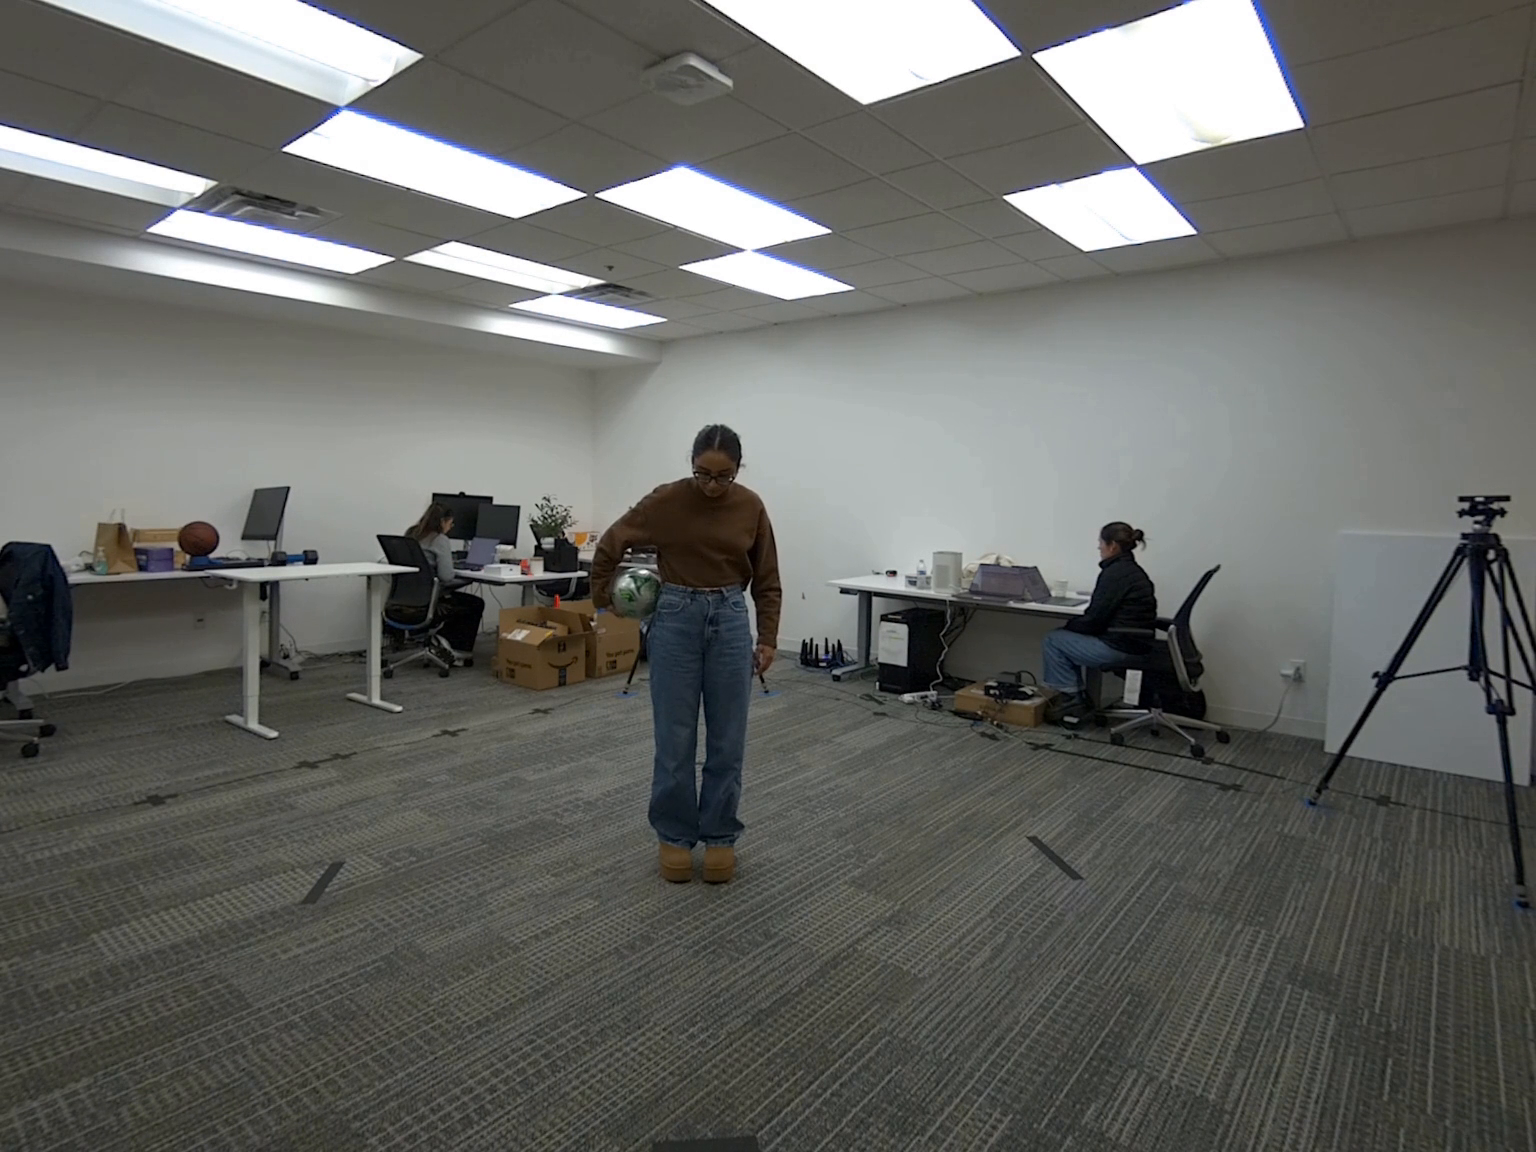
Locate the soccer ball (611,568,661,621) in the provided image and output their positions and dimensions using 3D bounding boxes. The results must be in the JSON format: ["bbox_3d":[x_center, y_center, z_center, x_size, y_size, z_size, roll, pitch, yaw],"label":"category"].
[{"bbox_3d":[-0.486,0.060,3.112,0.187,0.187,0.188,1,4,-2],"label":"soccer ball"}]
